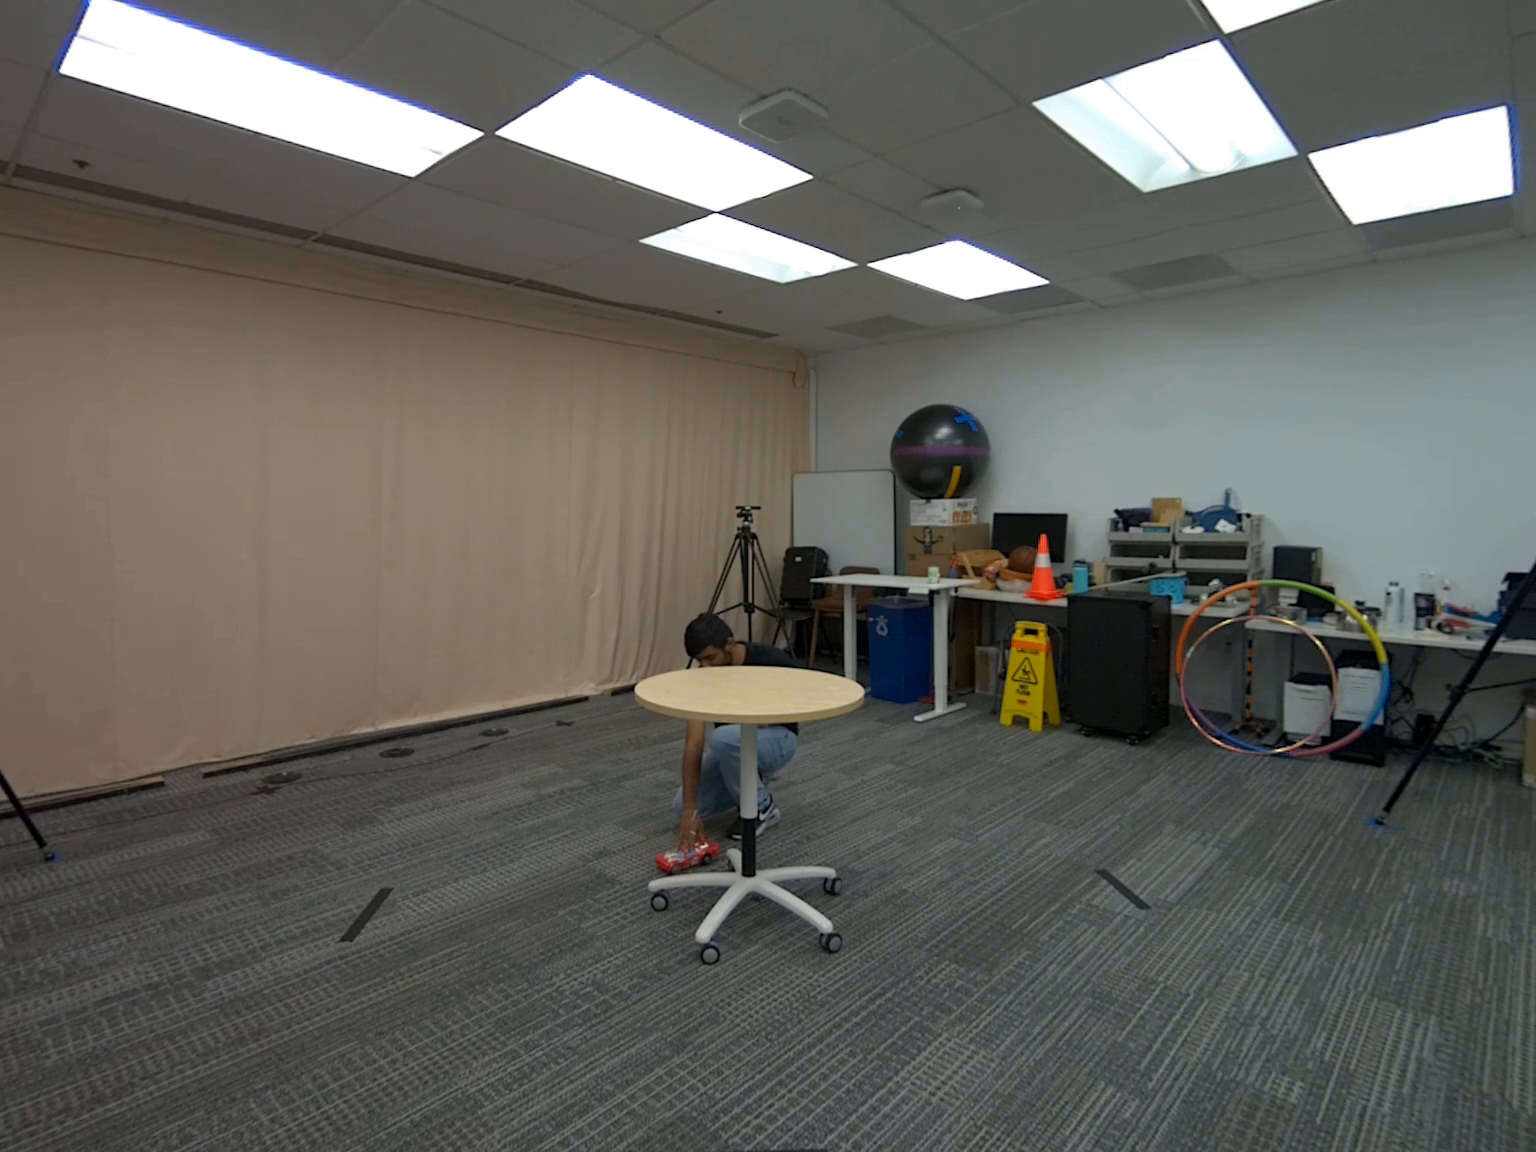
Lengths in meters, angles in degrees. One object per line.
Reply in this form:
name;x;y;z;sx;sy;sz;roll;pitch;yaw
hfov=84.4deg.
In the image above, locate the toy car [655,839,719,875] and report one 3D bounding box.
toy car;-0.310;1.088;3.275;0.248;0.082;0.134;-19;14;-37
